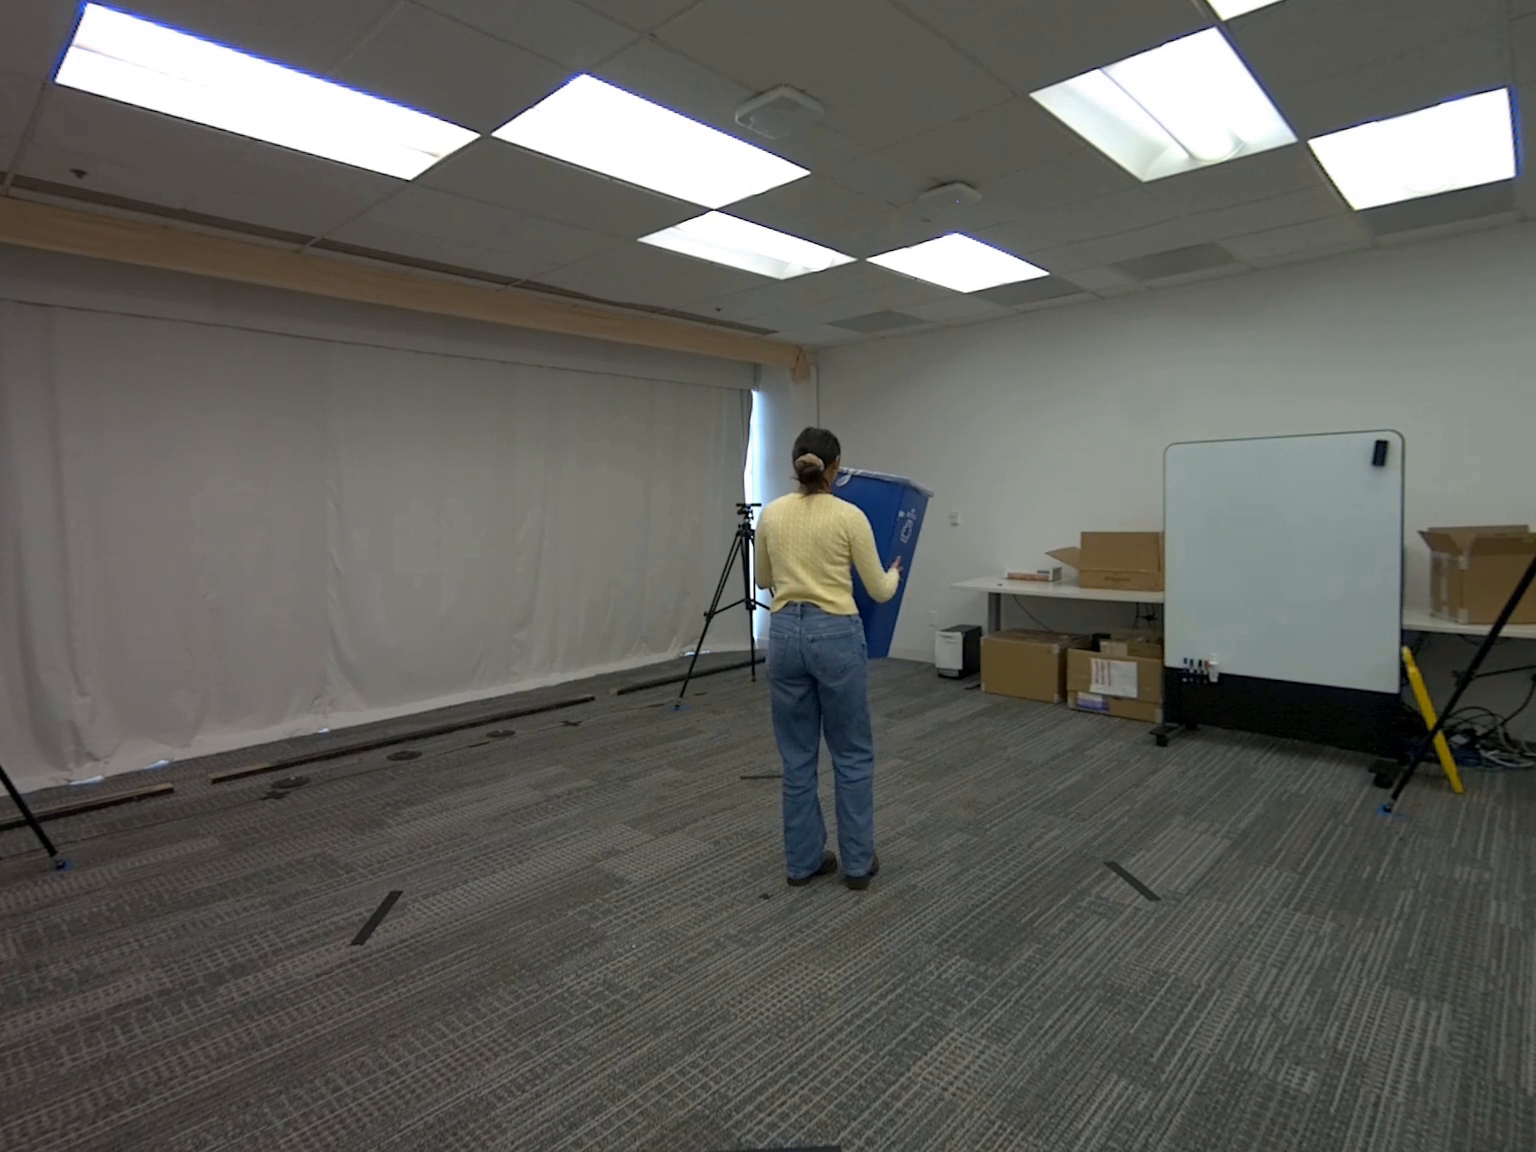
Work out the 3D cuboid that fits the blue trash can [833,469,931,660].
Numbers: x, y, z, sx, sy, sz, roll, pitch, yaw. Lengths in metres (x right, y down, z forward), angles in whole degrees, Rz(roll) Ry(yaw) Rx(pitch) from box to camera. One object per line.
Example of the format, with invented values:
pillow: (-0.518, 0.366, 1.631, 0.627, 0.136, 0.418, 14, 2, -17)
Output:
blue trash can: (0.385, -0.052, 3.439, 0.390, 0.713, 0.363, 14, 2, 29)
